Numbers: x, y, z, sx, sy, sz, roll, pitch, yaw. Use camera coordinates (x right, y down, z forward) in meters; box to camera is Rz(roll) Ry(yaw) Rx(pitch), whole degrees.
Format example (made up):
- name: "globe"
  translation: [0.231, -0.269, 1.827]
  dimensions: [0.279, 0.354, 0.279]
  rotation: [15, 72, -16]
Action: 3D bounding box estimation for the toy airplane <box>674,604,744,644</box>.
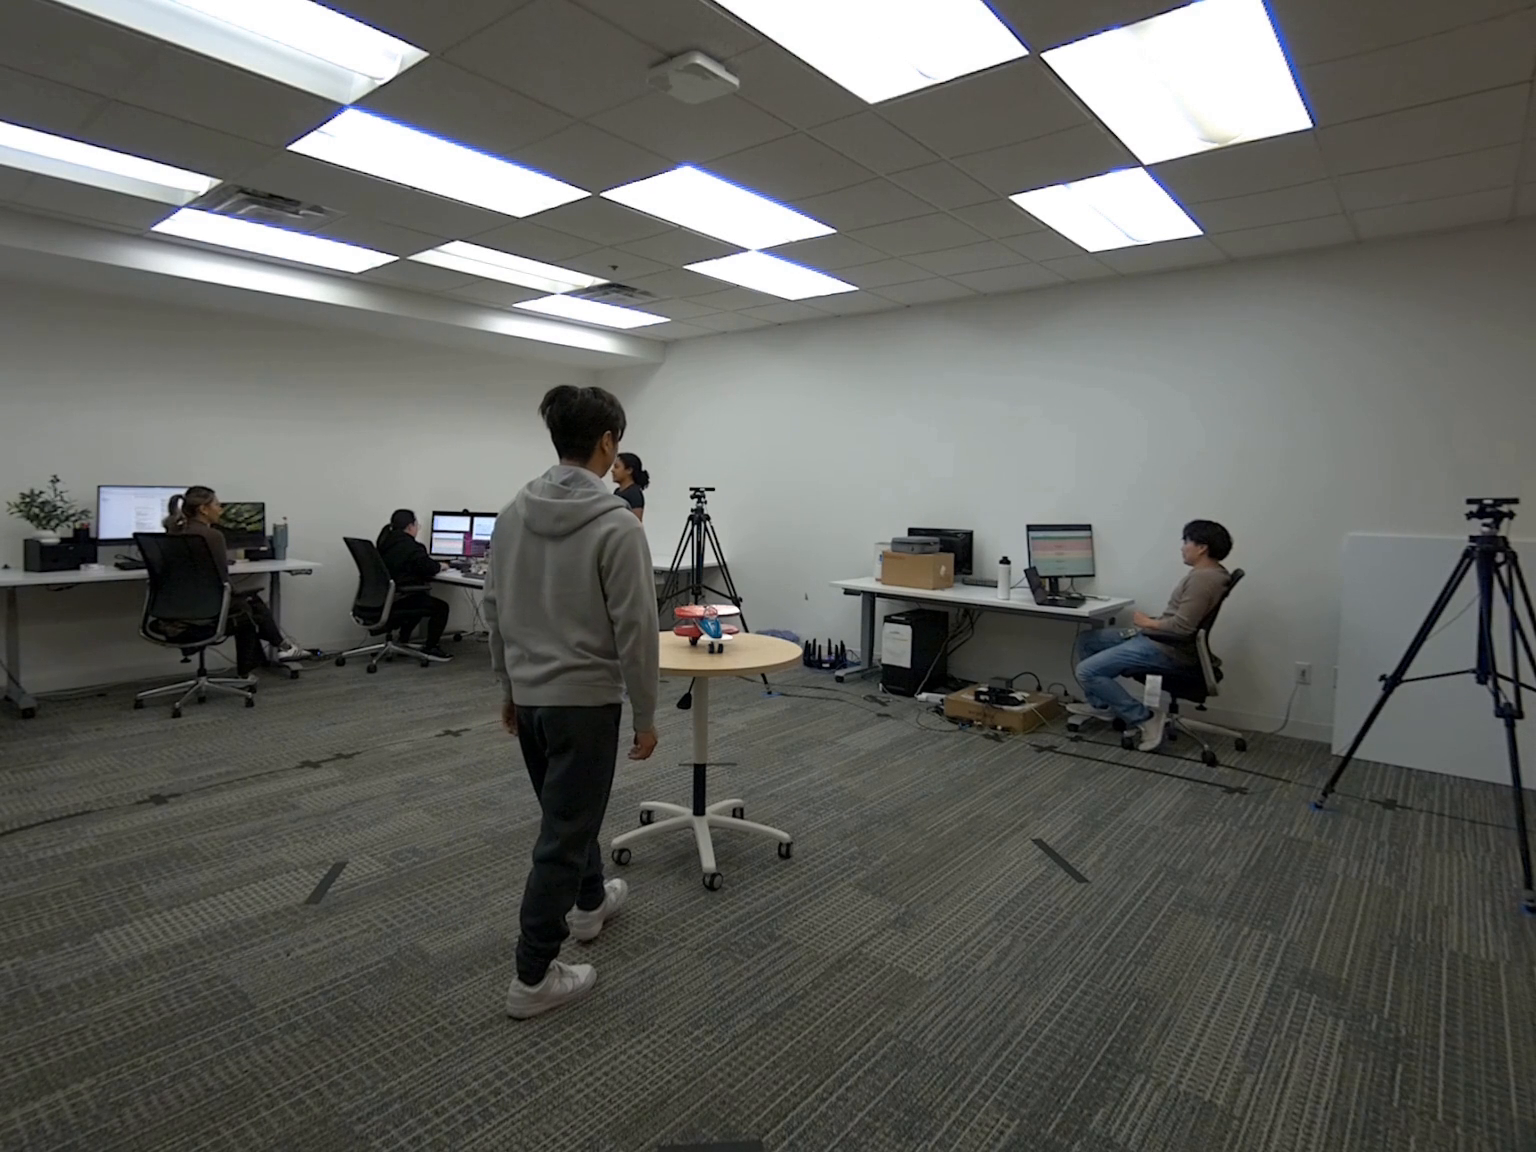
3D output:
- name: "toy airplane"
  translation: [-0.213, 0.194, 3.227]
  dimensions: [0.243, 0.156, 0.268]
  rotation: [-3, 6, -43]
